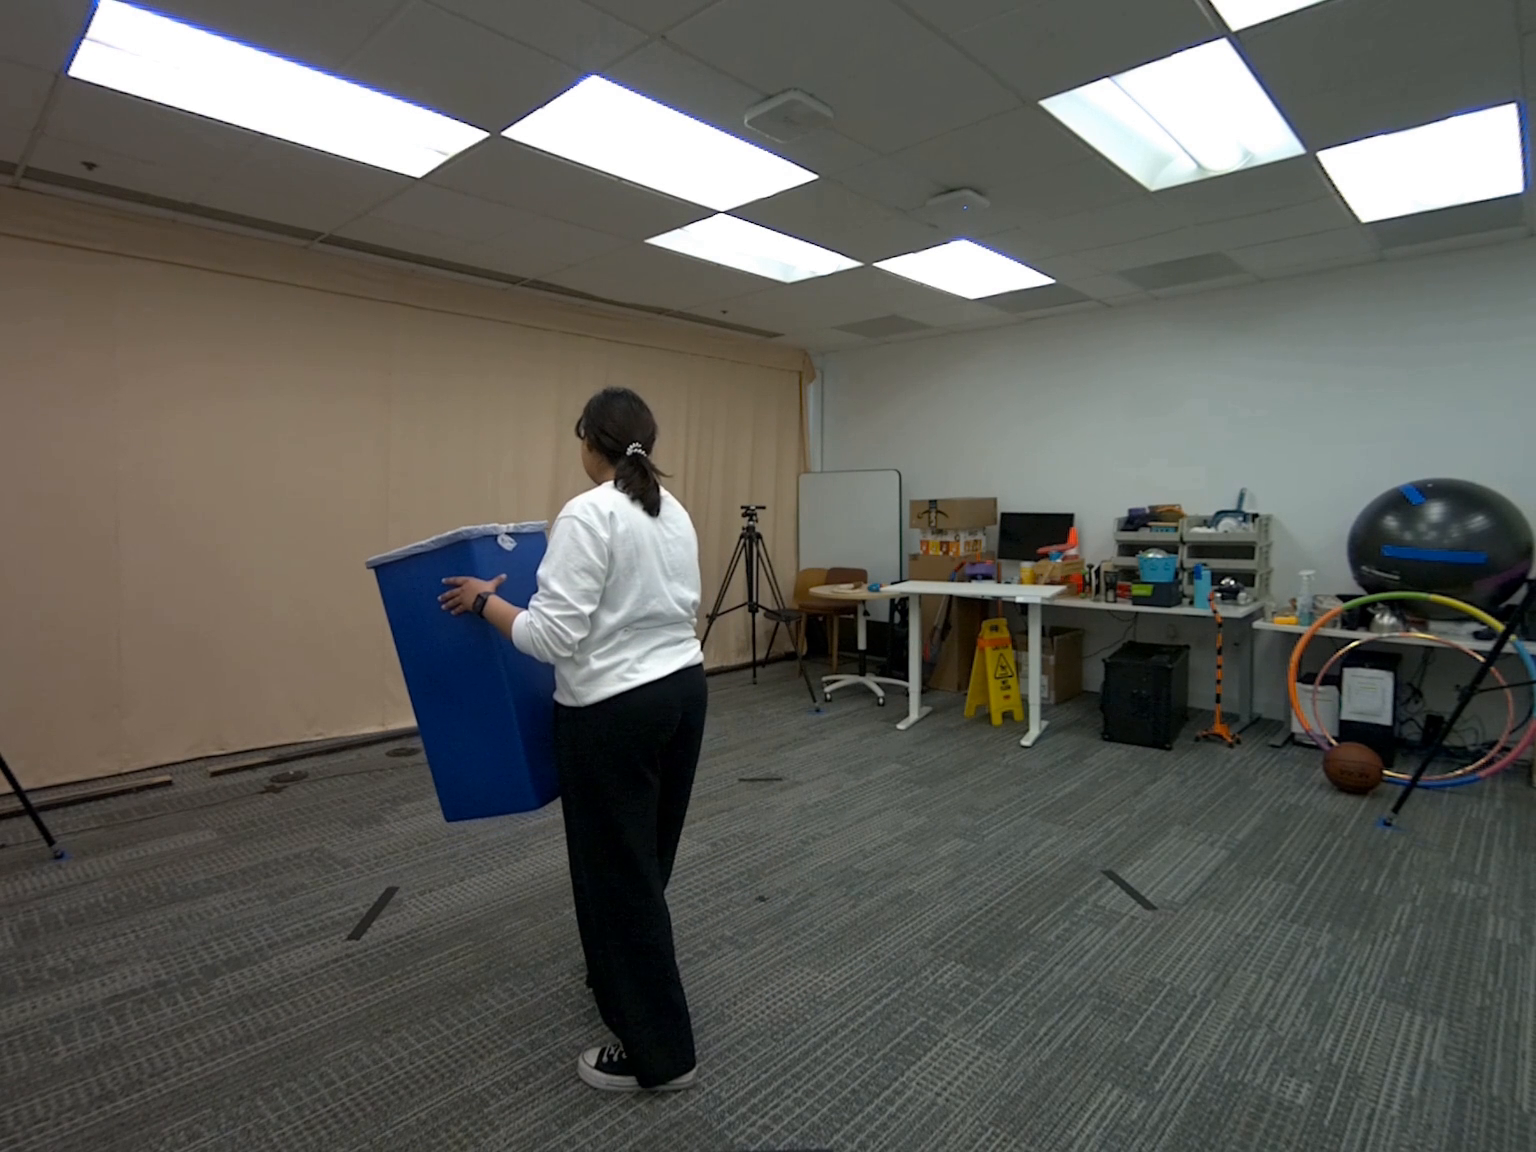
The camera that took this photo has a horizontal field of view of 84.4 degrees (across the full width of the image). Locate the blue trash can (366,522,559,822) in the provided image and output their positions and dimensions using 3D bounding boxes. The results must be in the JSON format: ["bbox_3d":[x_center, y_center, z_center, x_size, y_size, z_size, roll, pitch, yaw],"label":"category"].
[{"bbox_3d":[-0.753,0.246,2.263,0.381,0.714,0.370,-14,-1,22],"label":"blue trash can"}]
